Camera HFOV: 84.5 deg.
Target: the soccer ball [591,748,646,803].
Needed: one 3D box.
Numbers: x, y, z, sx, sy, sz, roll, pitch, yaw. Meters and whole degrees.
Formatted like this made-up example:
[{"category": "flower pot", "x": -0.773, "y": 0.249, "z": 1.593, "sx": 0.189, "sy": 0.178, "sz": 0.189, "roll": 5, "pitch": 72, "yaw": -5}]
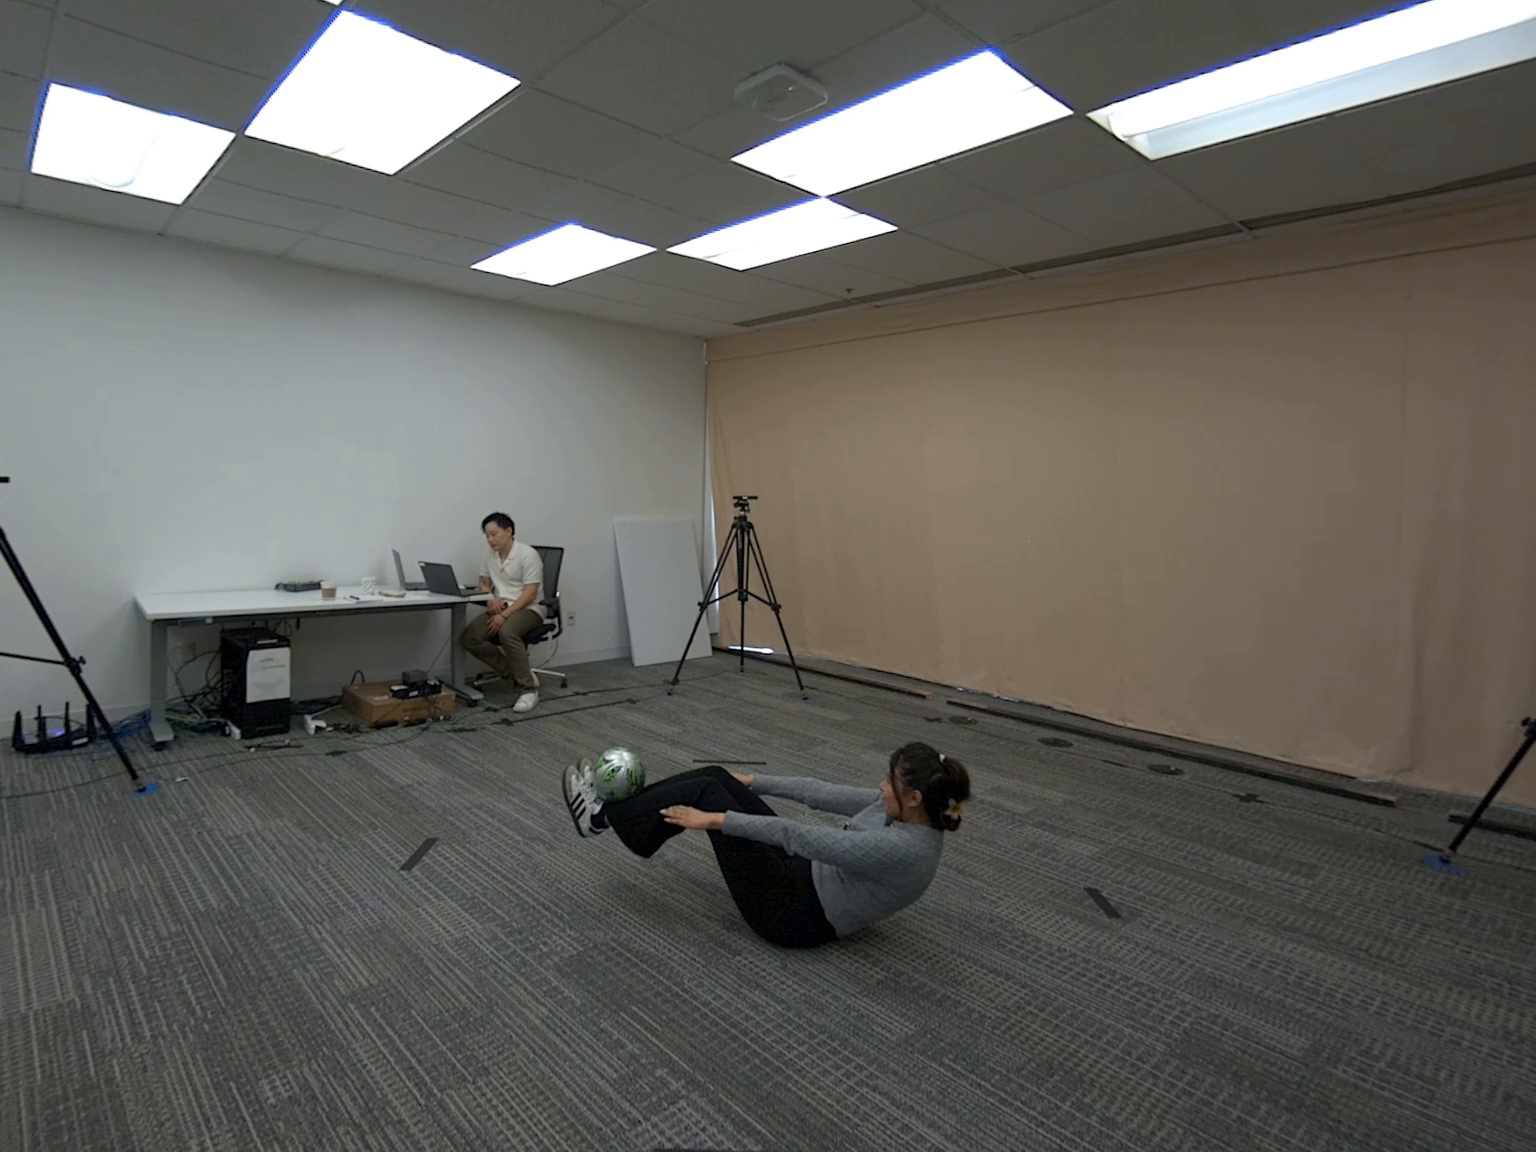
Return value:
[{"category": "soccer ball", "x": -0.526, "y": 0.694, "z": 2.917, "sx": 0.187, "sy": 0.187, "sz": 0.188, "roll": 1, "pitch": 4, "yaw": -1}]
